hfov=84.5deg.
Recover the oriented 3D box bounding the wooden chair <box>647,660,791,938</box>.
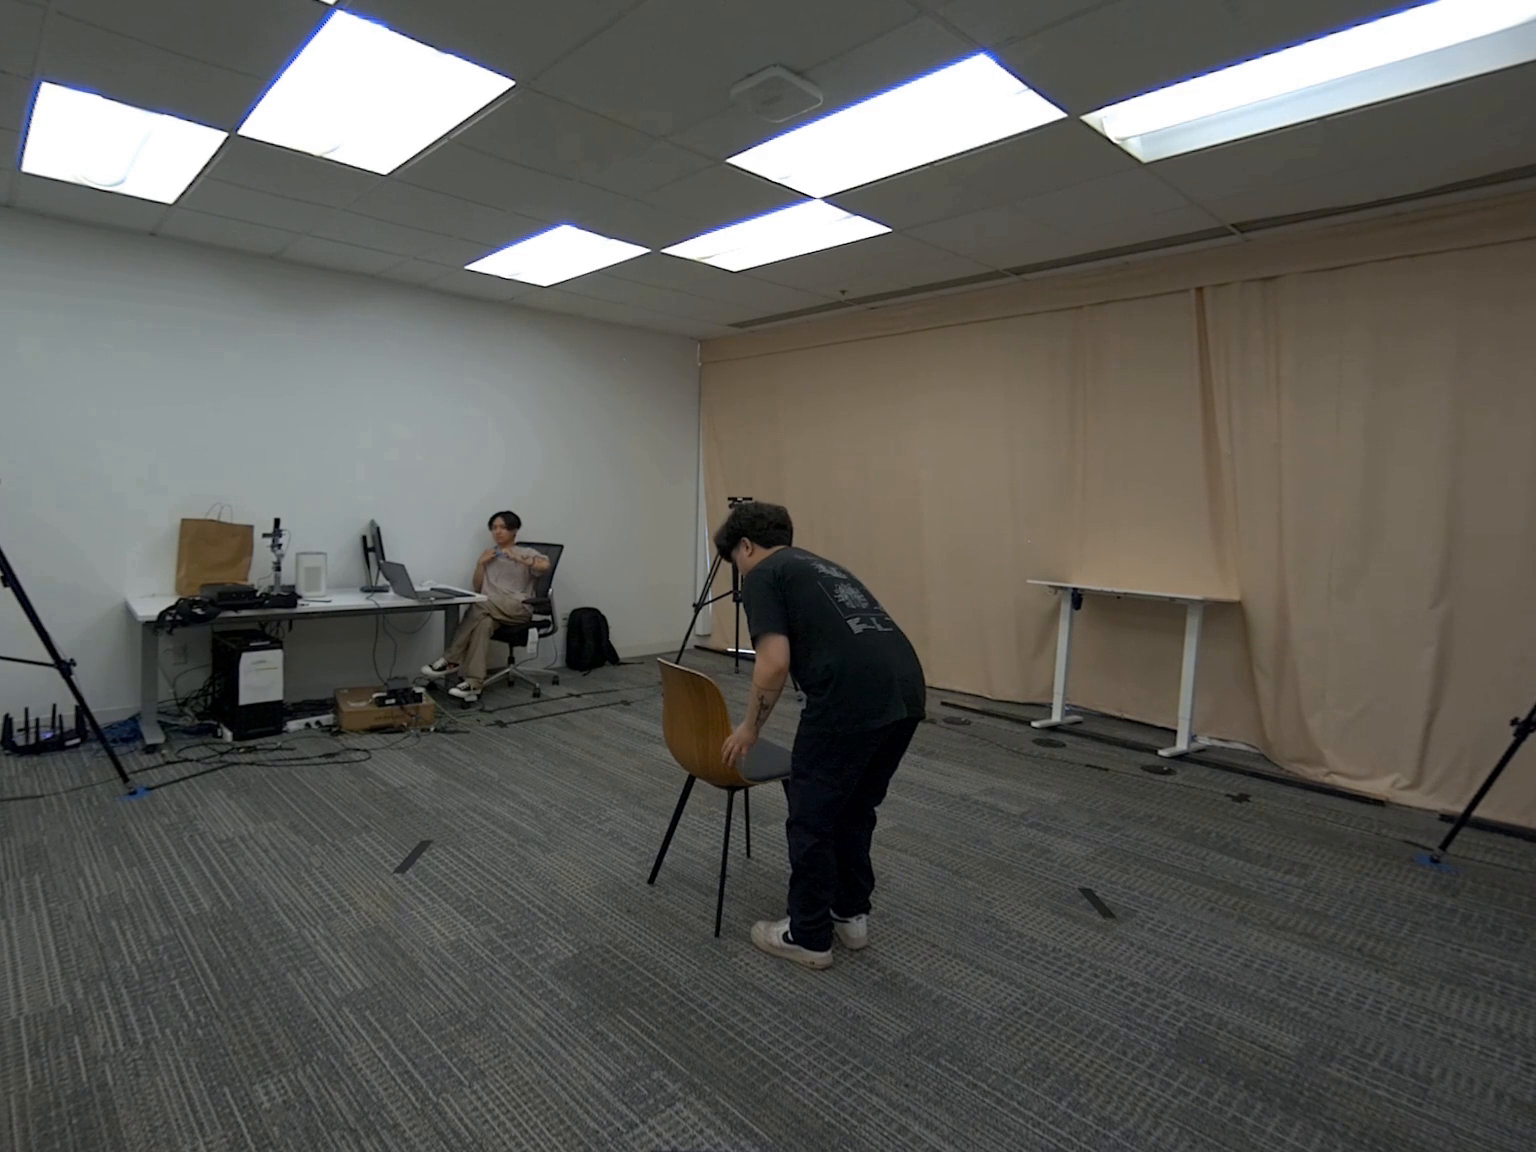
[{"bbox_3d":[-0.103,0.690,2.954,0.512,0.874,0.490,-6,7,-36],"label":"wooden chair"}]
